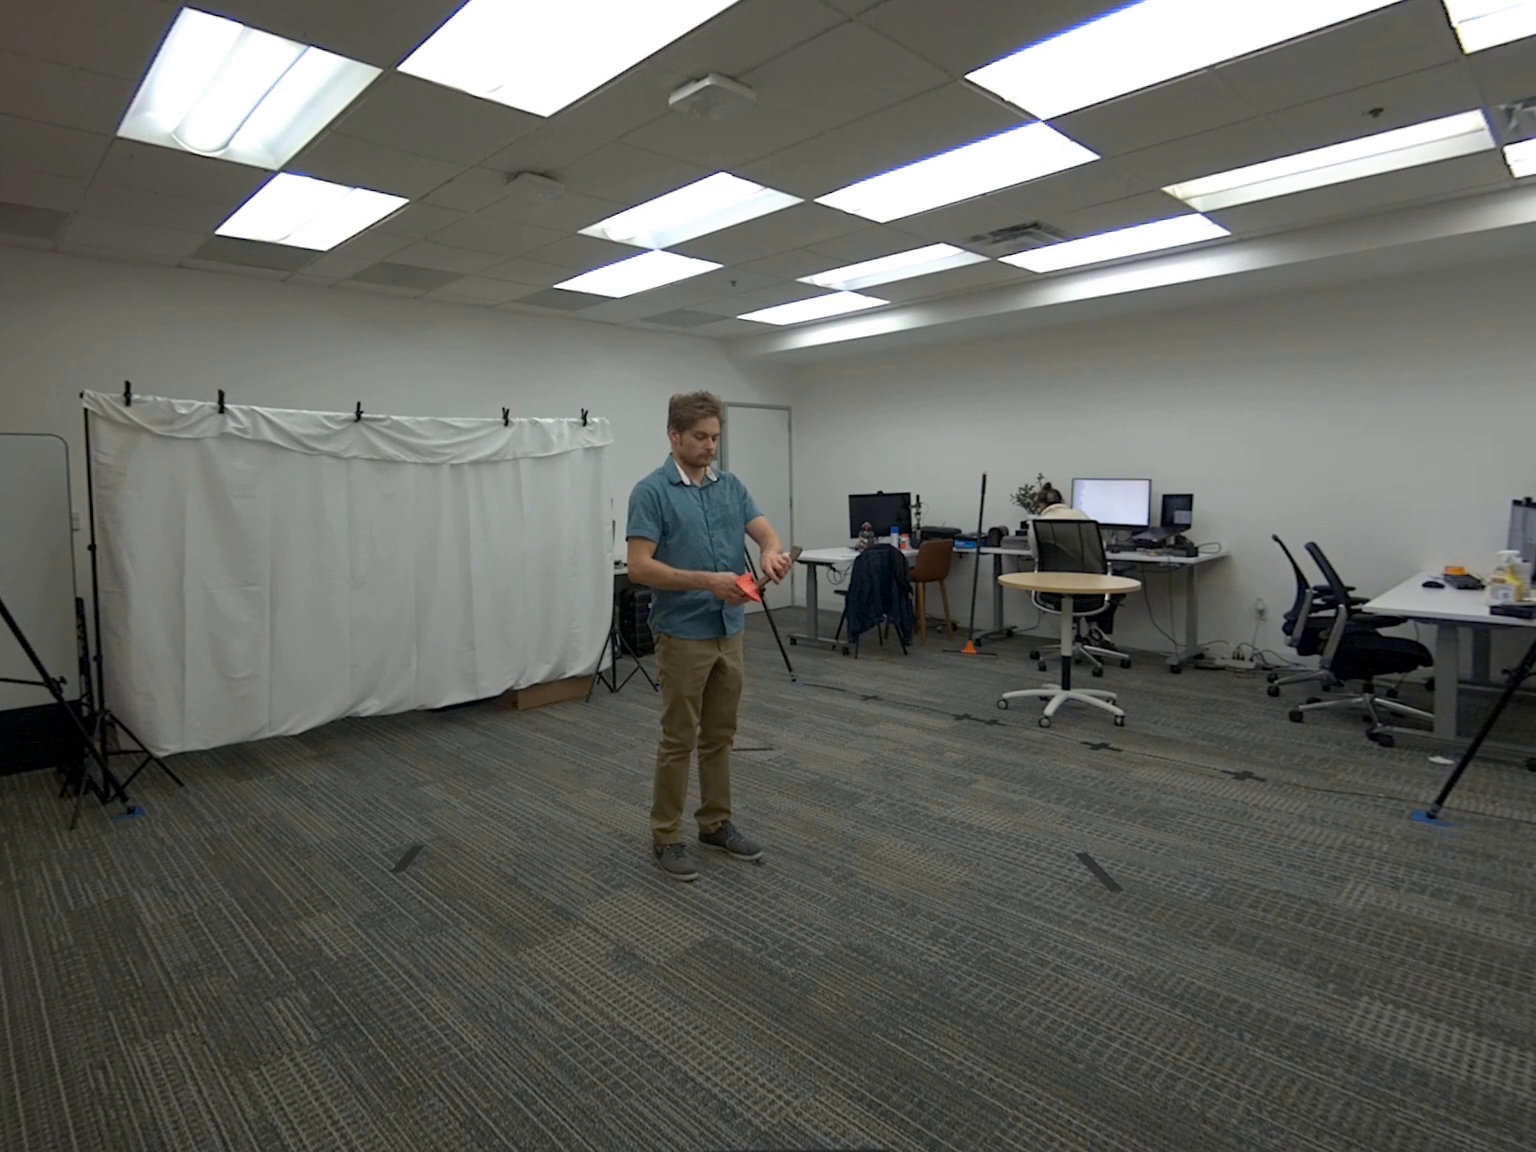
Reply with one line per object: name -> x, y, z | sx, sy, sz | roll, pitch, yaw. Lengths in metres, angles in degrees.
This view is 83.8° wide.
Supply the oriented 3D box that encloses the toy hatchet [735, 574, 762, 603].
toy hatchet -> 0.015, -0.022, 2.822 | 0.135, 0.029, 0.269 | 23, 51, 30
